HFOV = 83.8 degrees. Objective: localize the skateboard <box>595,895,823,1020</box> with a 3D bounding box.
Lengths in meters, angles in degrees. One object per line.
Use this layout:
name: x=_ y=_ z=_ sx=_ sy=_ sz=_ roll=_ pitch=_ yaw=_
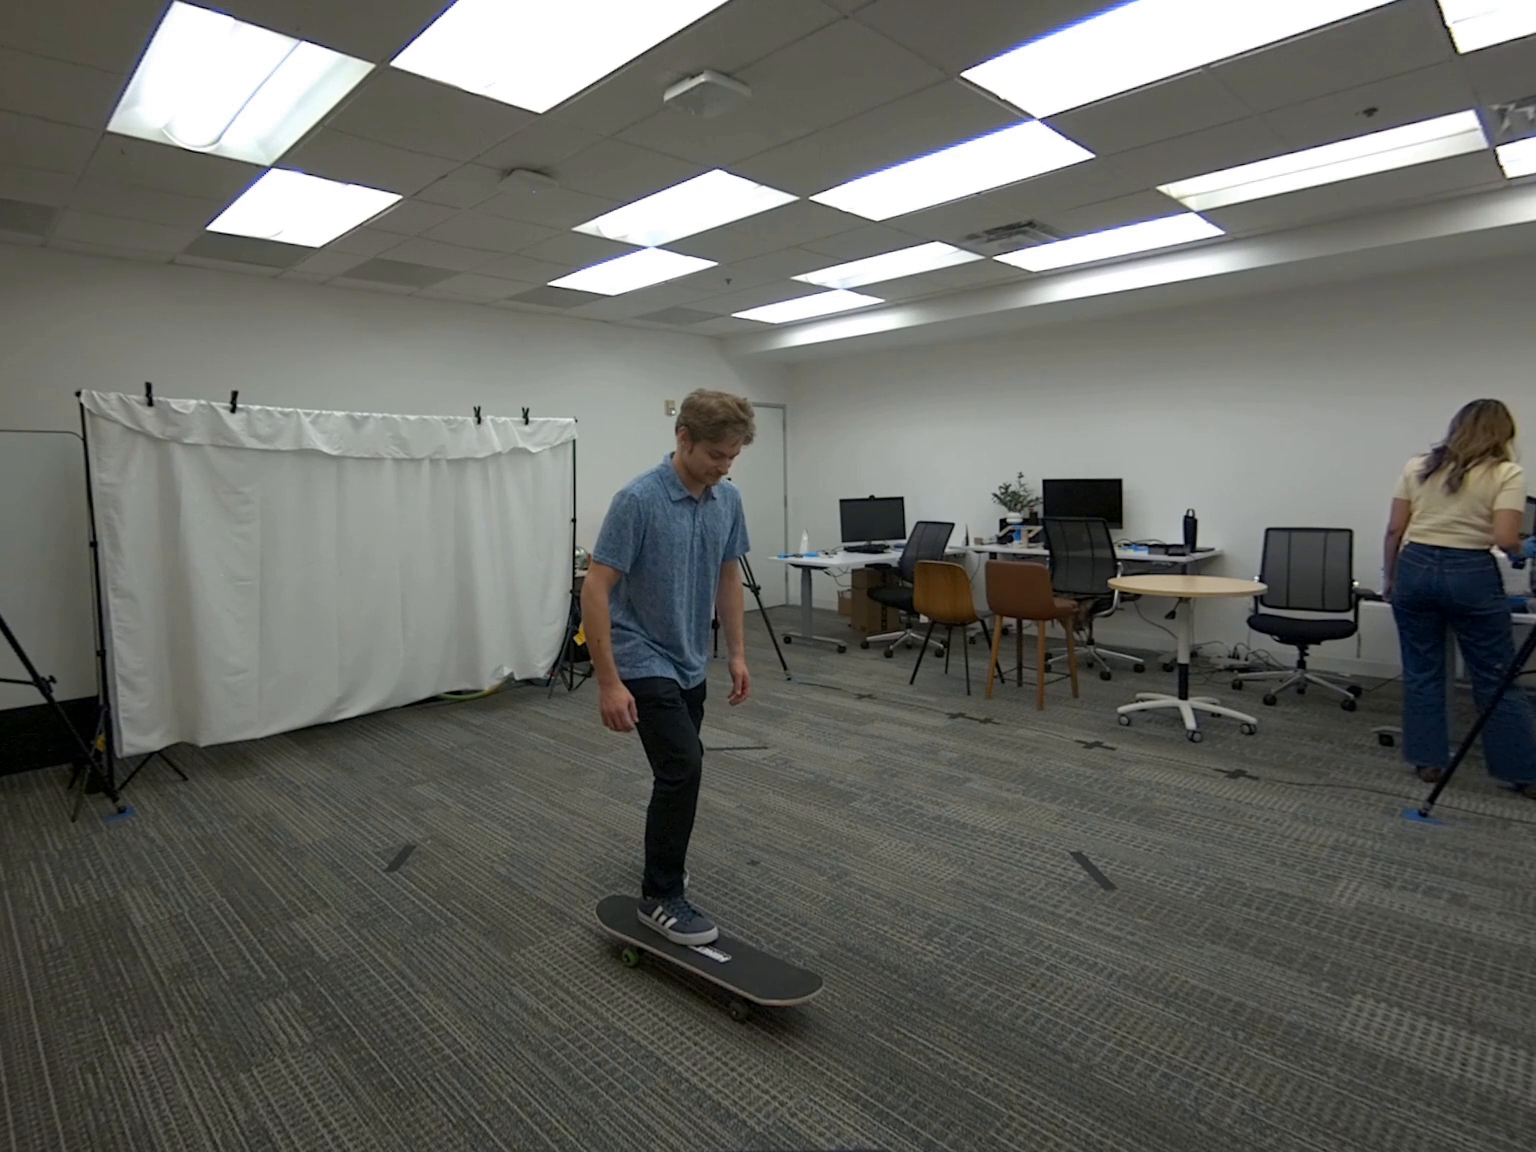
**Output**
skateboard: x=-0.183 y=1.068 z=2.404 sx=0.809 sy=0.110 sz=0.188 roll=4 pitch=5 yaw=39
